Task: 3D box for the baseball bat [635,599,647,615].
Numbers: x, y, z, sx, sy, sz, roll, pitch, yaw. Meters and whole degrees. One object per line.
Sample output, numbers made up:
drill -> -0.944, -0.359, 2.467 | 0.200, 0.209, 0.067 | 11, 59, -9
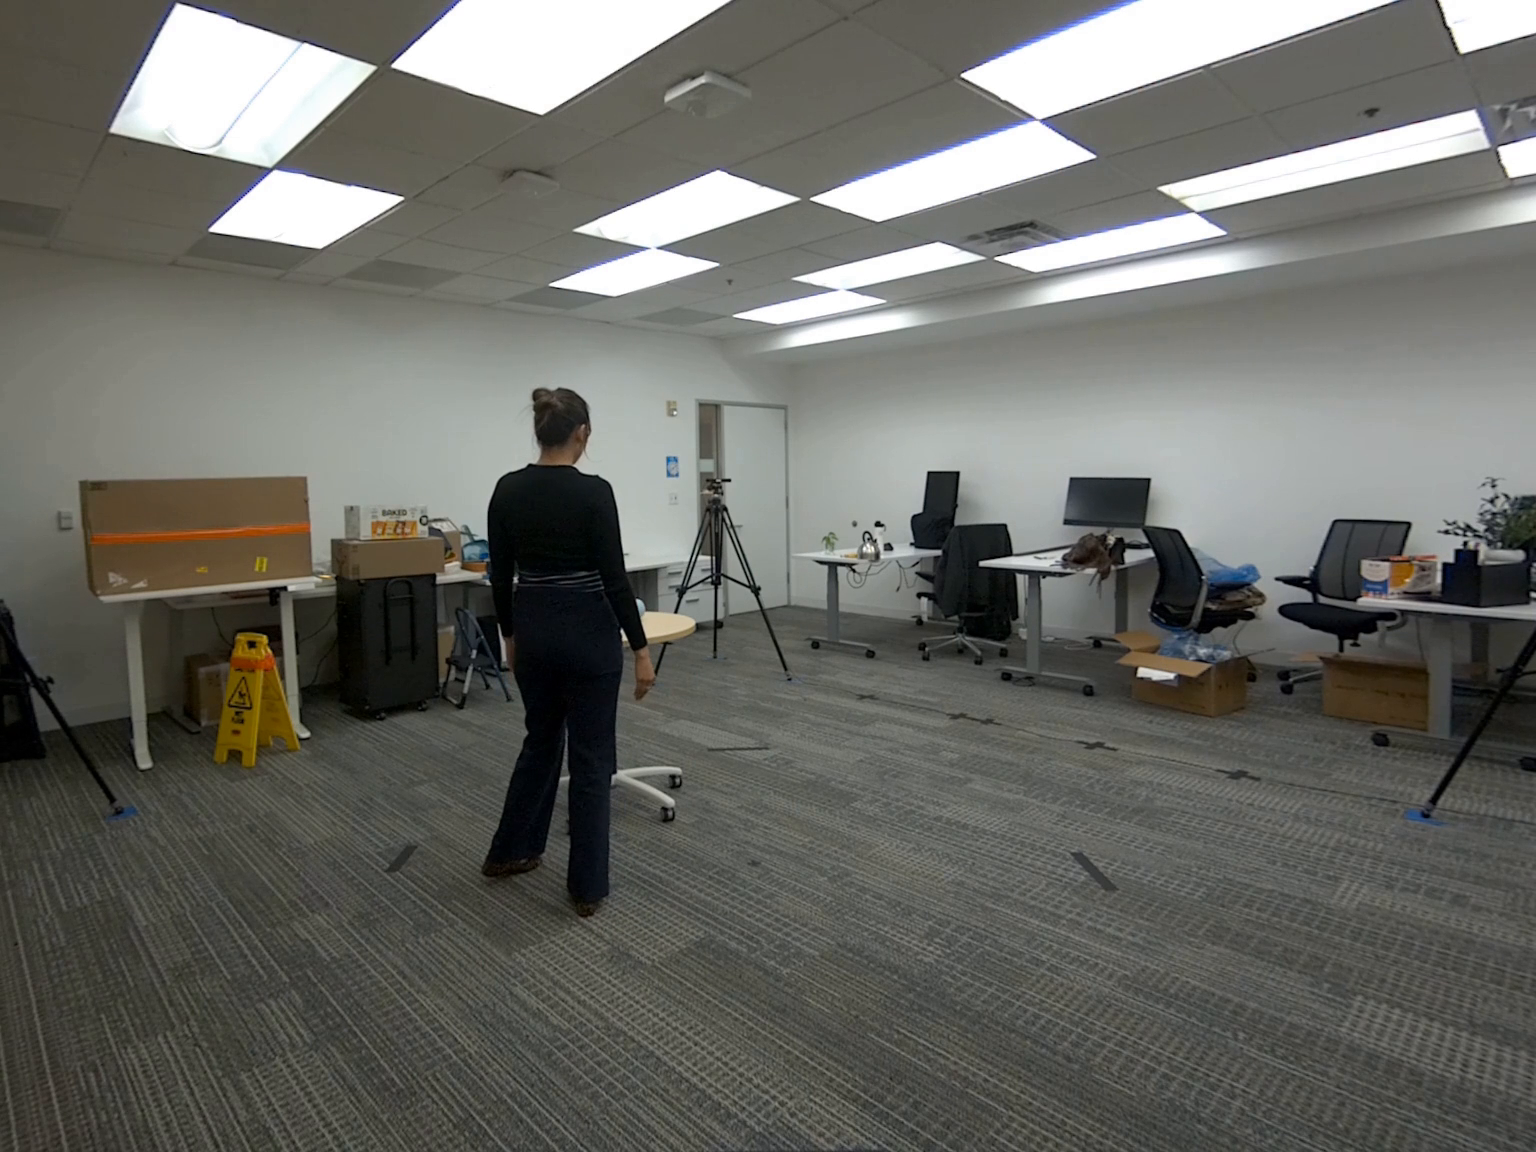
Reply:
baseball bat -> -0.750, 0.183, 3.608 | 0.092, 0.088, 0.530 | 3, 10, 42
